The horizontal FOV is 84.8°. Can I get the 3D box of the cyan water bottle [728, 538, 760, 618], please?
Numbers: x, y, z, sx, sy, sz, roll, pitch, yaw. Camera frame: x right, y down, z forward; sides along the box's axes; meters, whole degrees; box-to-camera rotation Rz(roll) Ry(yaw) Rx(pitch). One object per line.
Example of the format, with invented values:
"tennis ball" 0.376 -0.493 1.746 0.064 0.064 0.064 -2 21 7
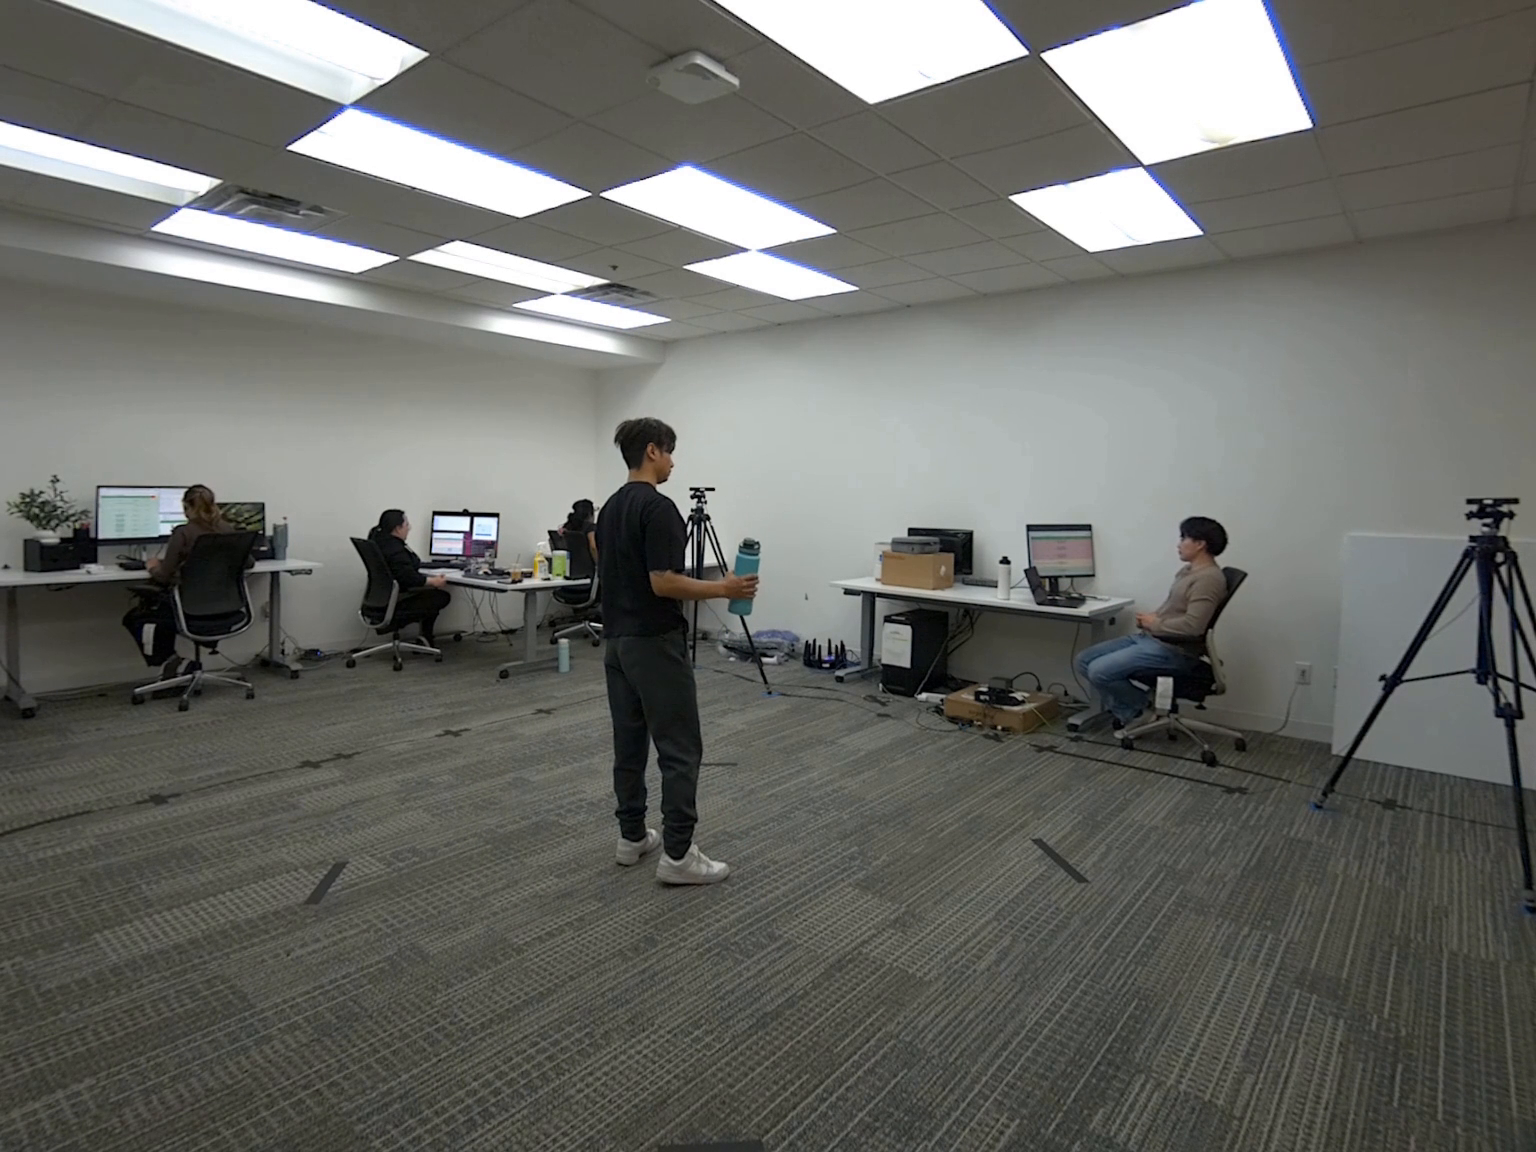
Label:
"cyan water bottle" -0.097 -0.005 3.127 0.092 0.281 0.093 10 9 -4
